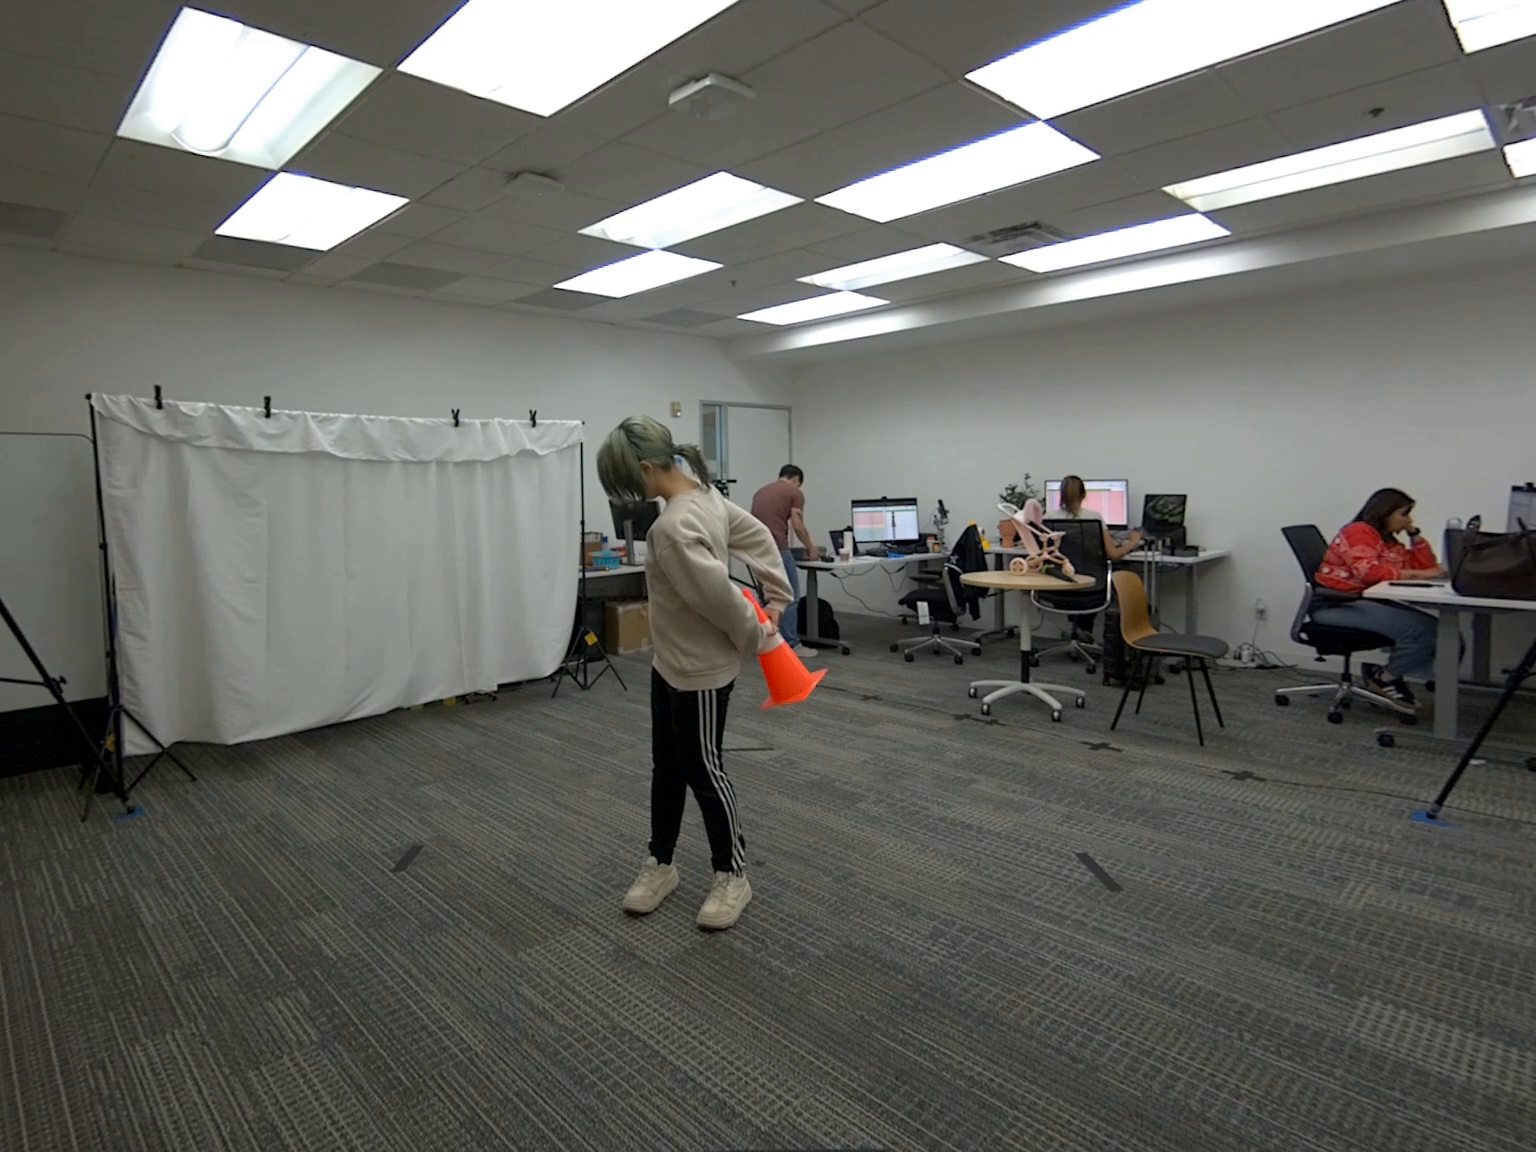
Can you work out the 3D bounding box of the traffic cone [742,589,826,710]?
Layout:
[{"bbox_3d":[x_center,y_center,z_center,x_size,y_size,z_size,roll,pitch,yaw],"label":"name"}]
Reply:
[{"bbox_3d":[-0.002,0.221,2.848,0.206,0.381,0.204,-24,7,29],"label":"traffic cone"}]
